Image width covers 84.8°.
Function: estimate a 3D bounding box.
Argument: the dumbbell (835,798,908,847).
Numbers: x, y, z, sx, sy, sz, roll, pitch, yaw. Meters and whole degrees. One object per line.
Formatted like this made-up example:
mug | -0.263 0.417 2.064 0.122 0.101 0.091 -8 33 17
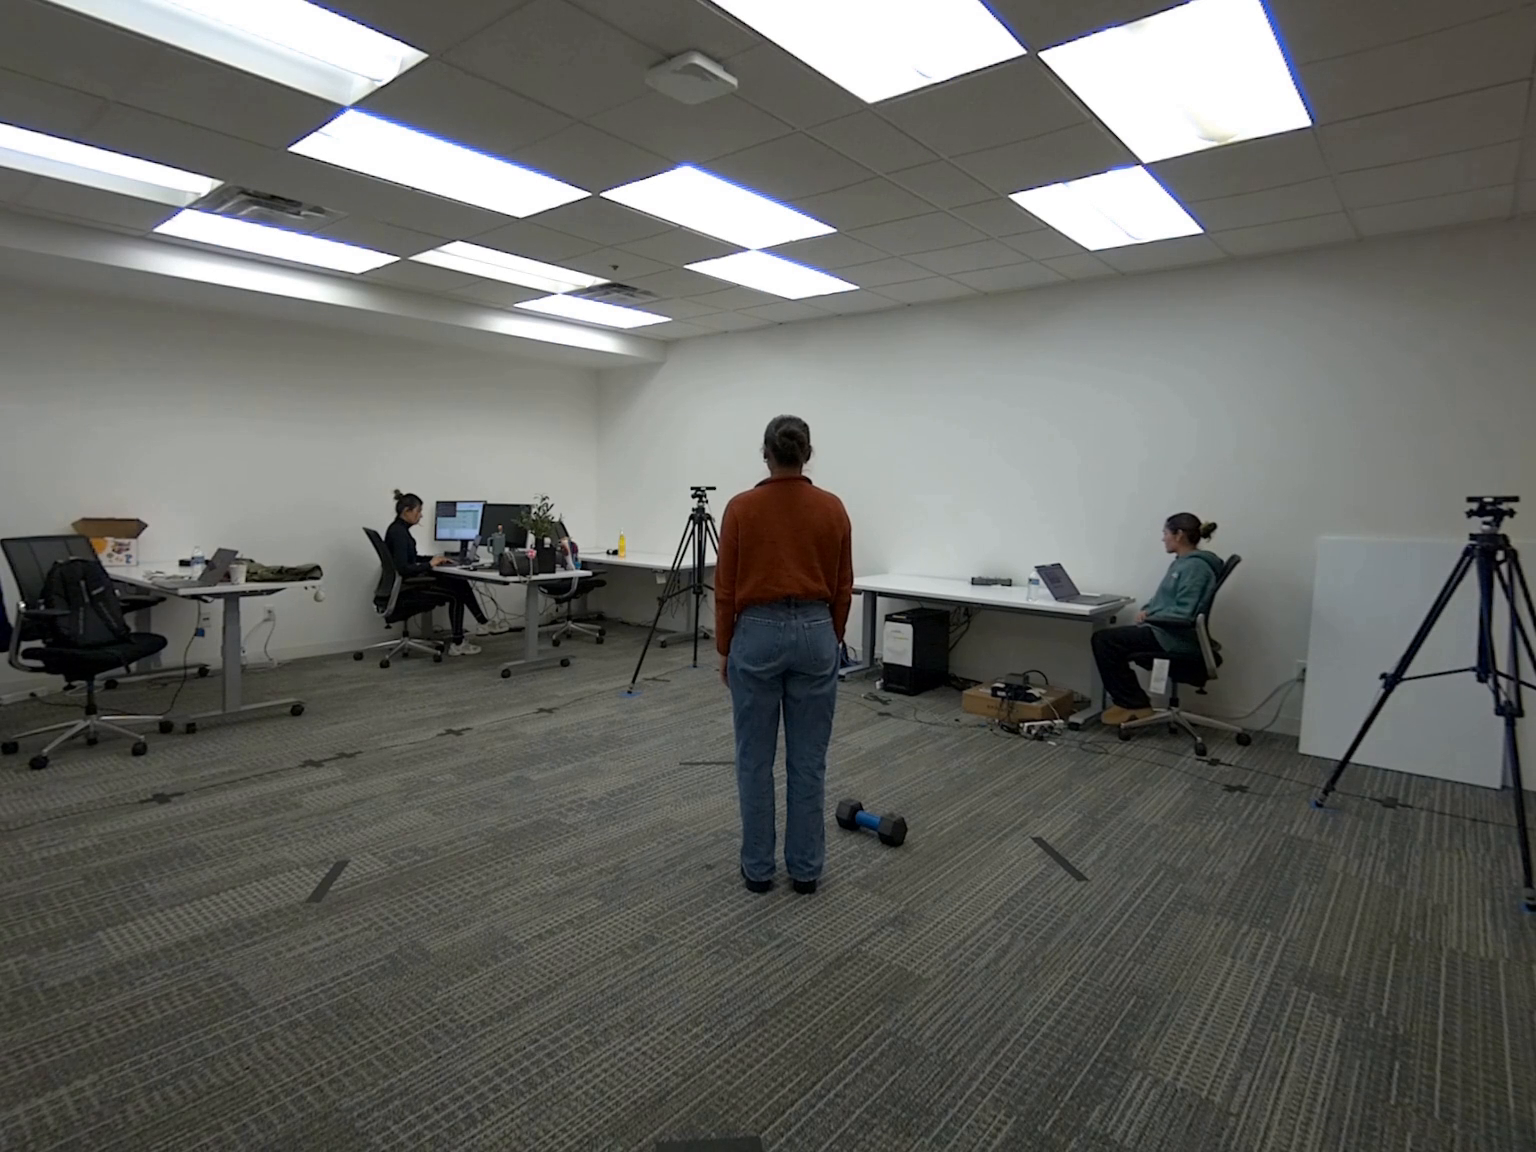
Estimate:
dumbbell | 0.407 0.989 3.441 0.304 0.119 0.108 7 37 45
